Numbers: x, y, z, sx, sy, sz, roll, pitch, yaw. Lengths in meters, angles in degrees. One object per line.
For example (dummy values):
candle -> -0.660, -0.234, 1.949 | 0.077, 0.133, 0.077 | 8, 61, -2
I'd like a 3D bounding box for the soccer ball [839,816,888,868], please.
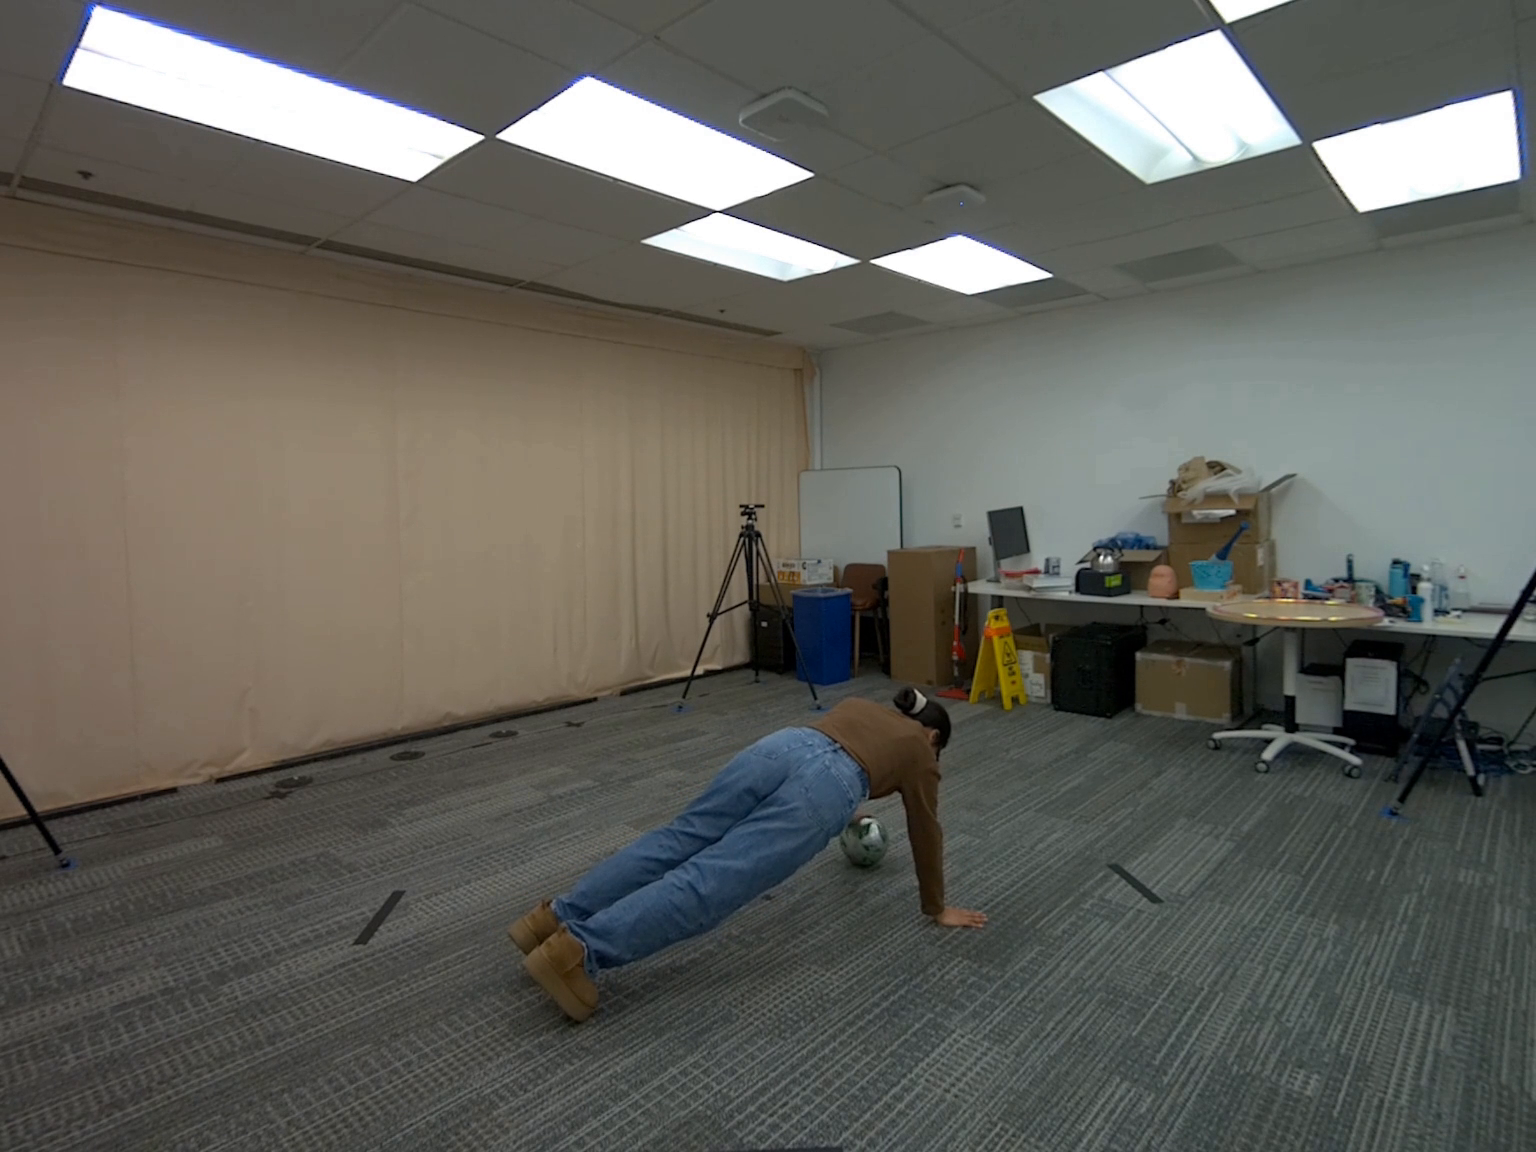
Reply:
soccer ball -> 0.377, 1.017, 3.242 | 0.187, 0.187, 0.188 | -1, 4, -2
